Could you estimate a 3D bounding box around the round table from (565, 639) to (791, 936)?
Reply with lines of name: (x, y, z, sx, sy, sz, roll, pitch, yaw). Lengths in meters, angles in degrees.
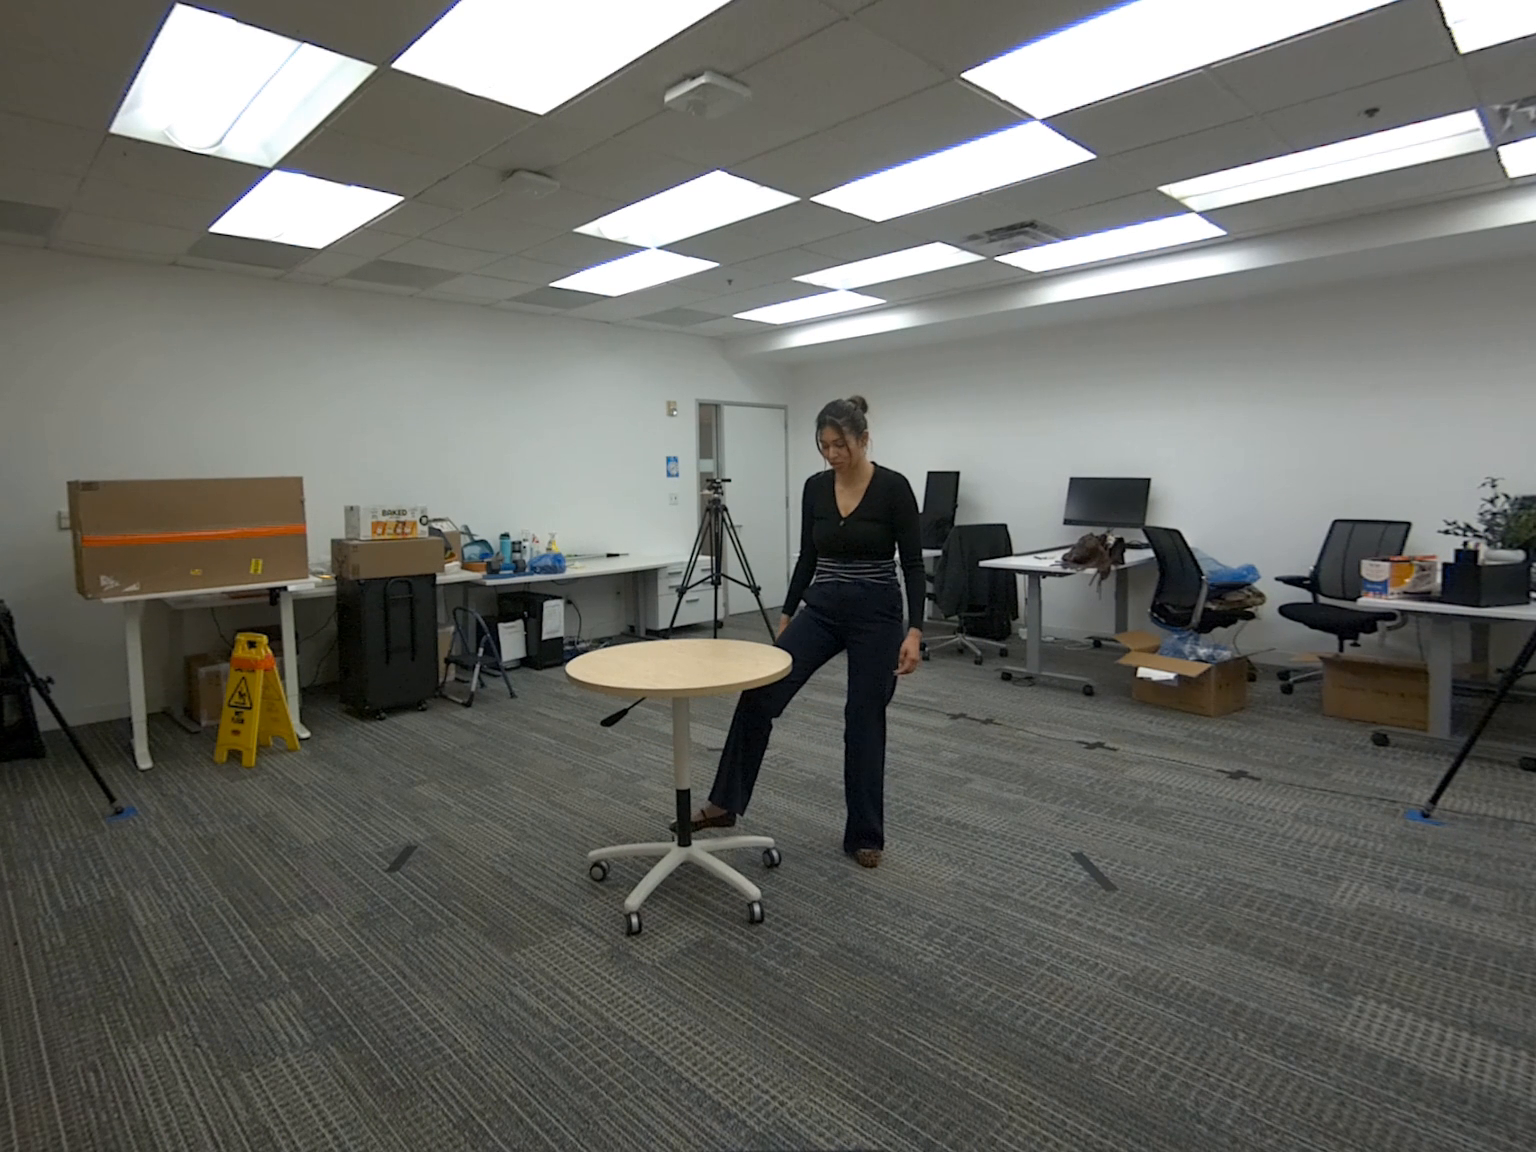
round table: (-0.280, 0.683, 2.918, 0.763, 0.790, 0.768, -2, 5, -1)
